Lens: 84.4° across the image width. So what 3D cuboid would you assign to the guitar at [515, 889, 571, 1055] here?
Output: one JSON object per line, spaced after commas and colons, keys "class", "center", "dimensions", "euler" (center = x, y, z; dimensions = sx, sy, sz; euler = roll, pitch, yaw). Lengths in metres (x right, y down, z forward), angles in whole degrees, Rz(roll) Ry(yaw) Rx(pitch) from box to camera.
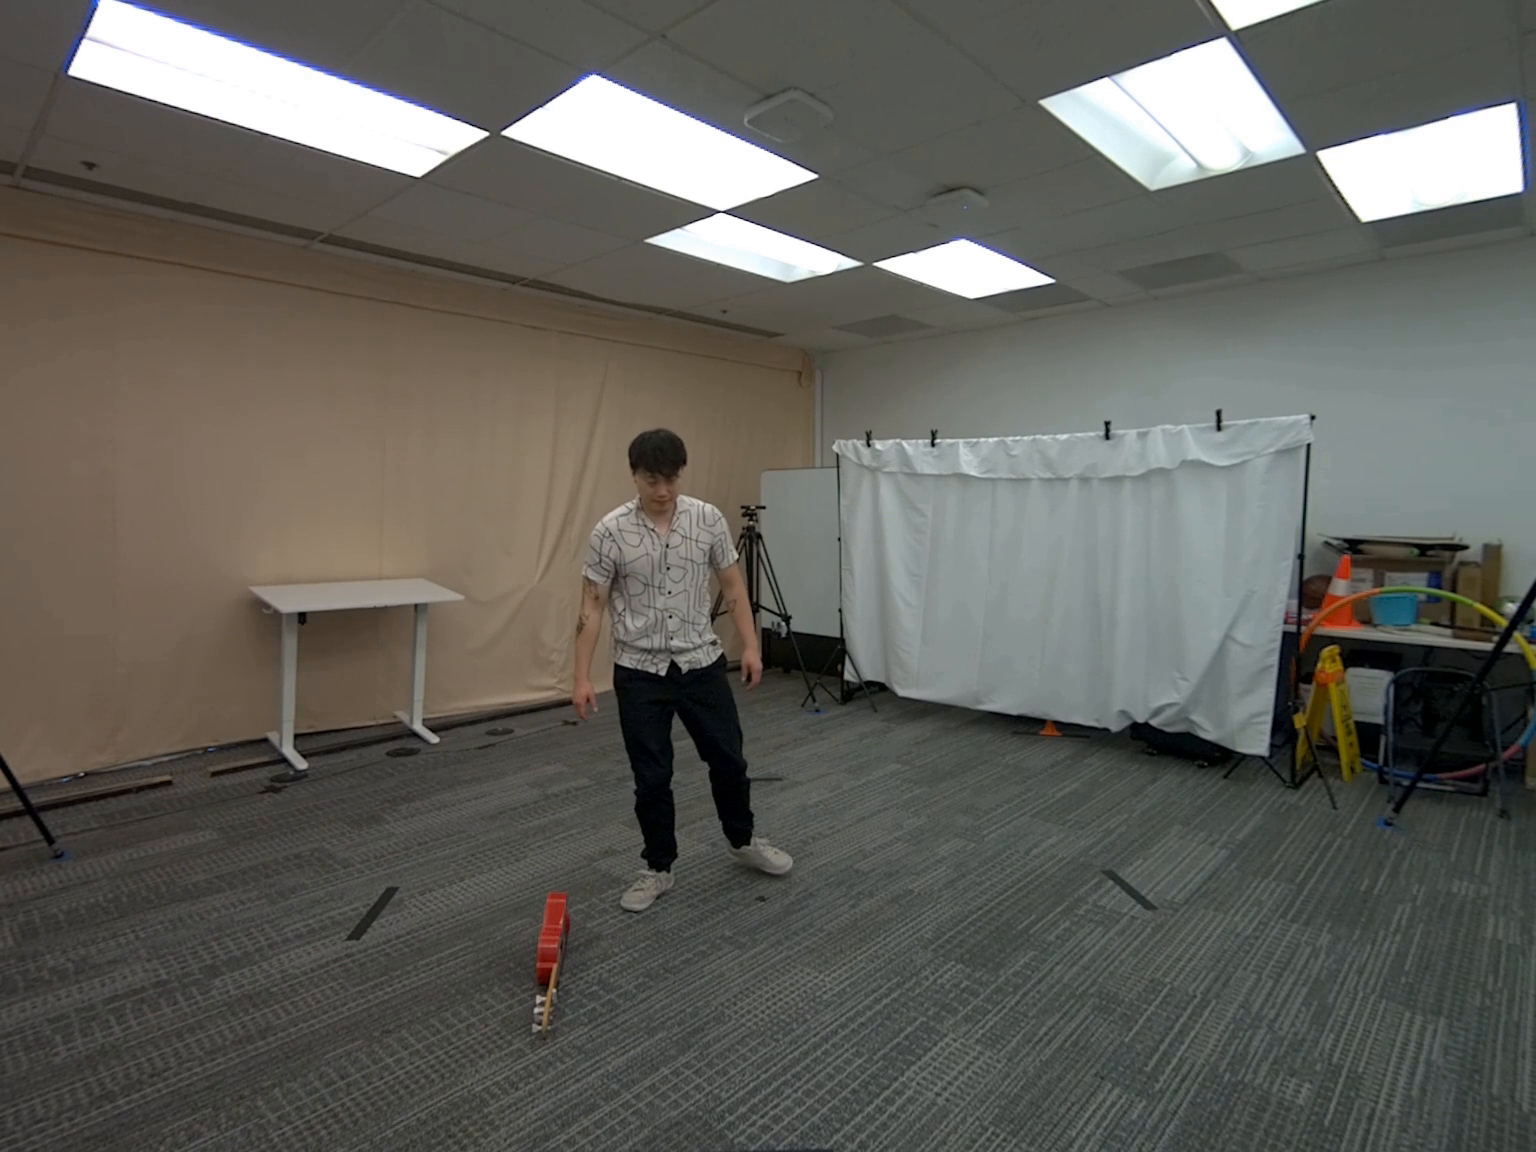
{"class": "guitar", "center": [-0.636, 1.109, 2.423], "dimensions": [0.070, 0.192, 0.502], "euler": [4, 5, -7]}
